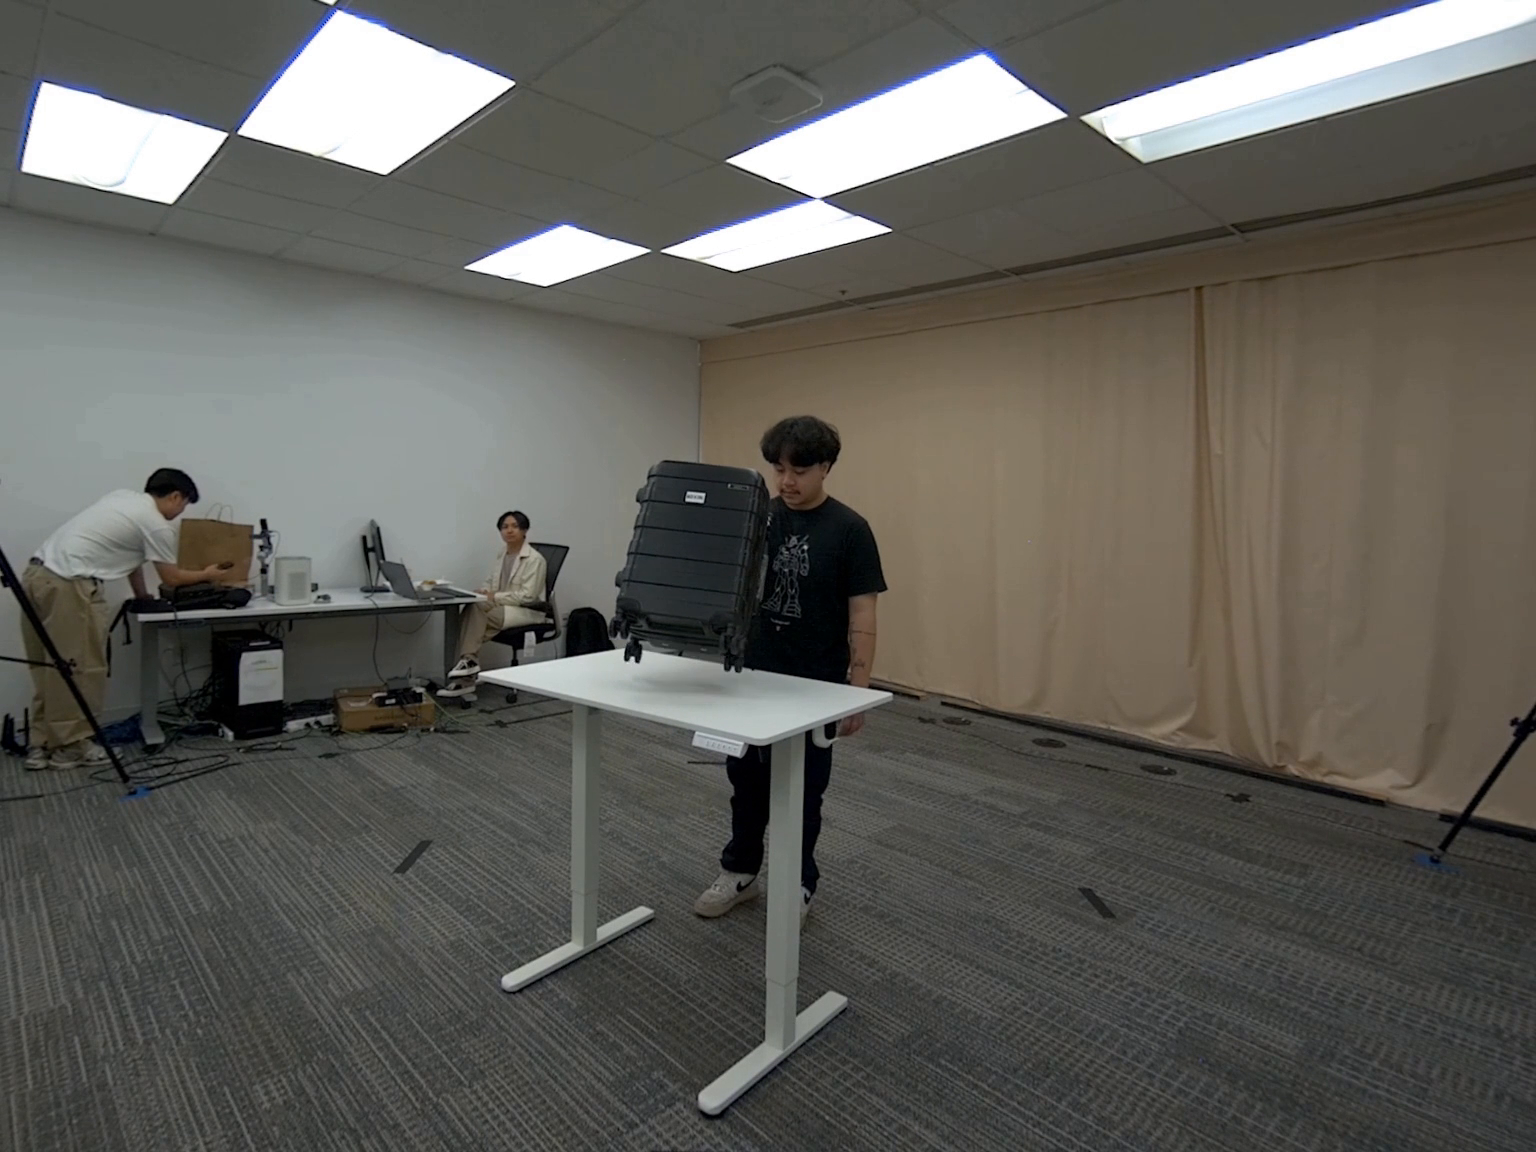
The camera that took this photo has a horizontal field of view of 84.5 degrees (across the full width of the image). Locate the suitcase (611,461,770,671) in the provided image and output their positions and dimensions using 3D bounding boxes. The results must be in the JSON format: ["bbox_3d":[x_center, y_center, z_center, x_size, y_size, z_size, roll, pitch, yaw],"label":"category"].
[{"bbox_3d":[-0.209,-0.036,2.321,0.379,0.556,0.243,5,-24,9],"label":"suitcase"}]
